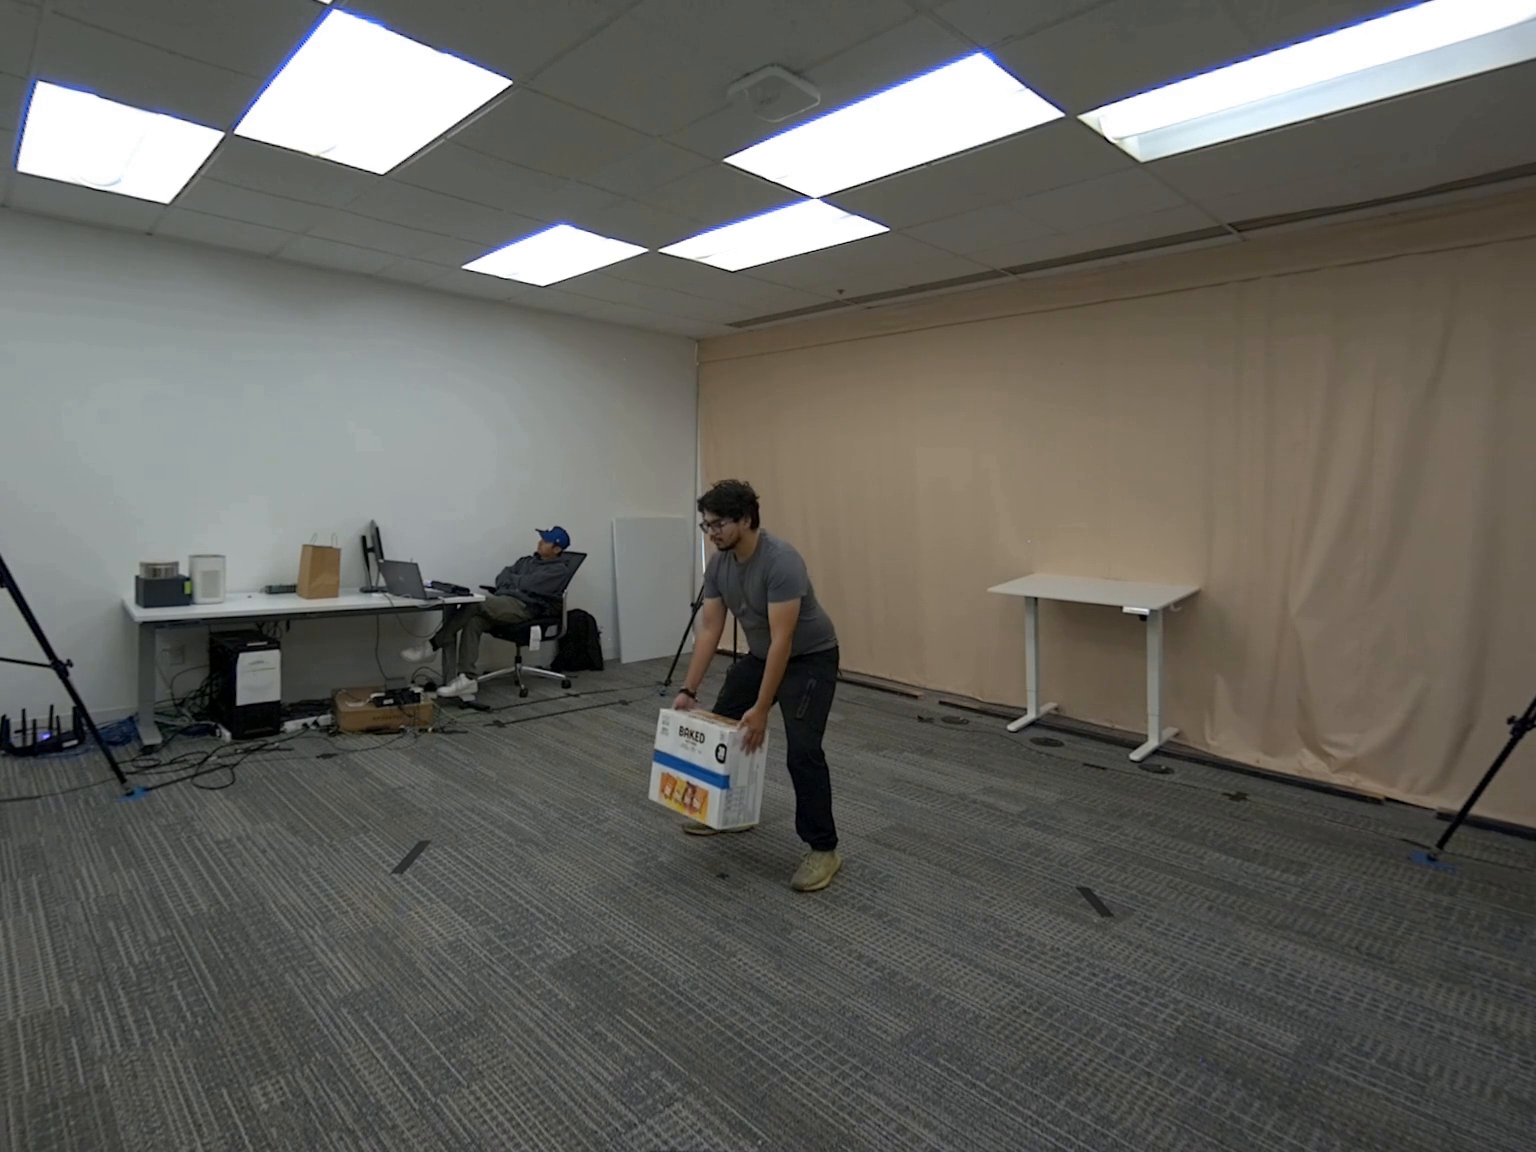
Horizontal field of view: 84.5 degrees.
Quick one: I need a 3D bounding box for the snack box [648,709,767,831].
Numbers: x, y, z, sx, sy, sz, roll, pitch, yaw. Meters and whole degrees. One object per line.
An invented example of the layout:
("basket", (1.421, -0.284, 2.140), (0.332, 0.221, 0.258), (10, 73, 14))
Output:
("snack box", (-0.230, 0.700, 3.107), (0.200, 0.341, 0.415), (9, -2, -43))
